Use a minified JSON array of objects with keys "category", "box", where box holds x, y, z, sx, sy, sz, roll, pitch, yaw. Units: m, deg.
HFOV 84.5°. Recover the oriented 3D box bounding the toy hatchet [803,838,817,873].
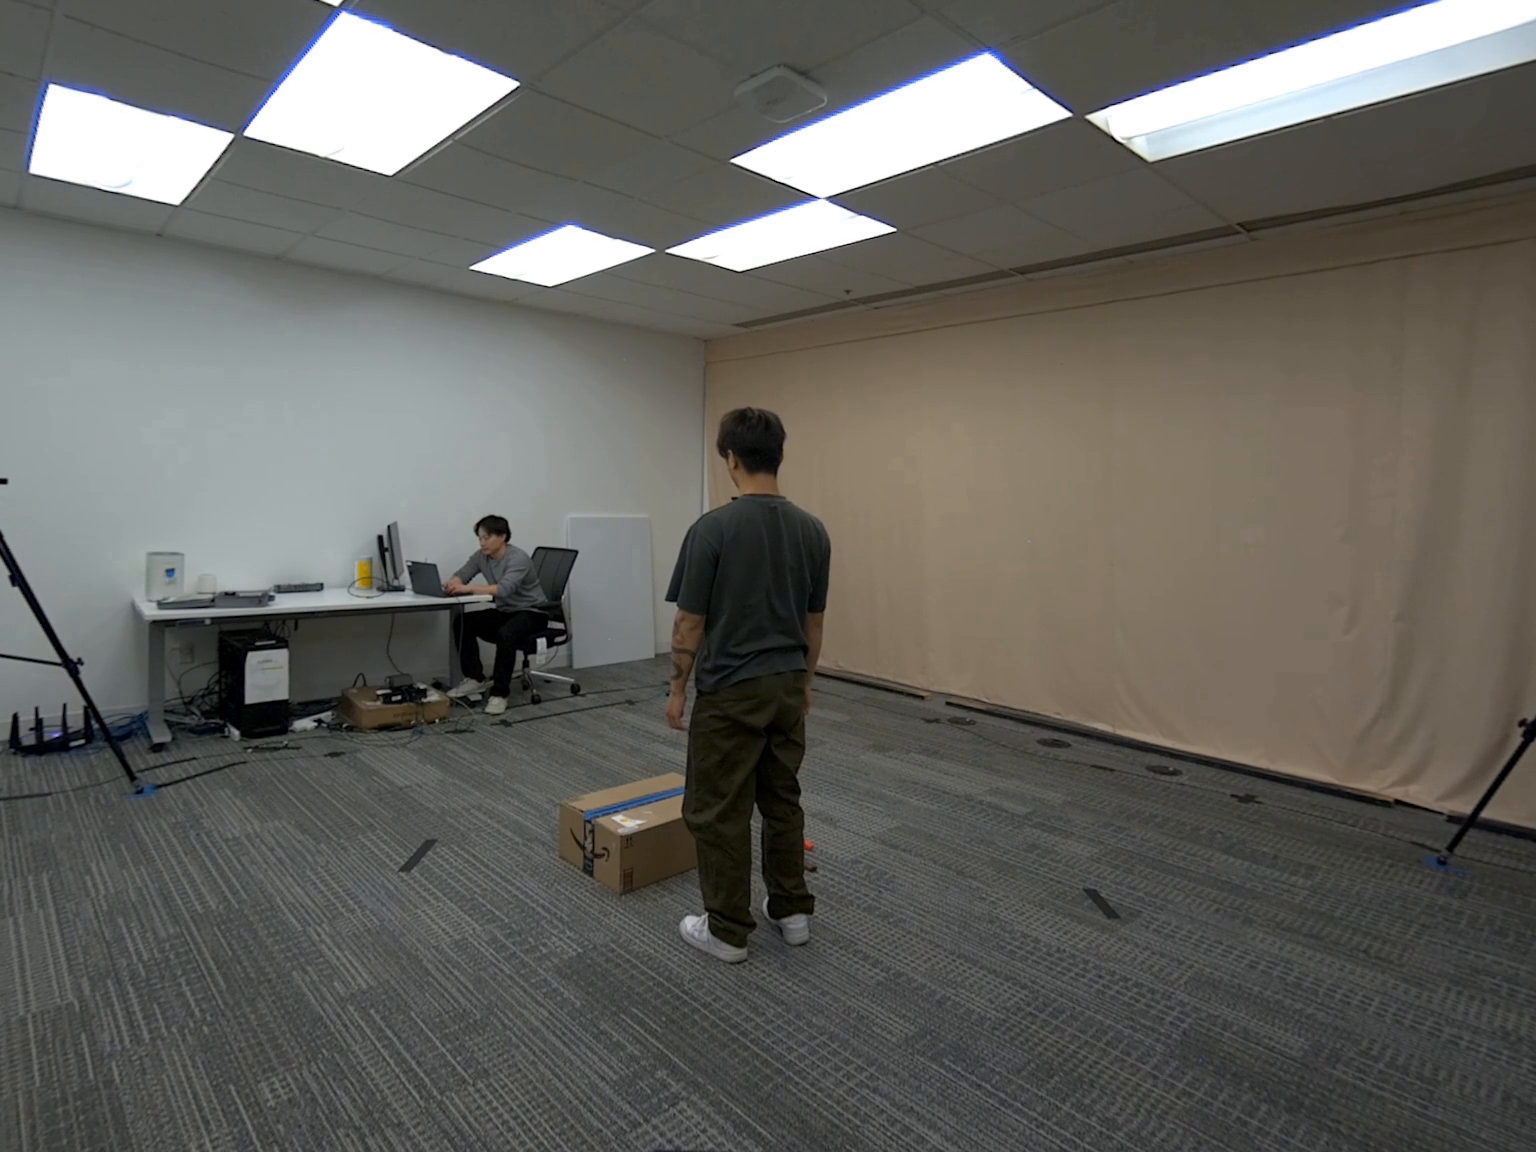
[{"category":"toy hatchet","box":[0.153,1.092,3.291,0.129,0.029,0.276,0,7,-23]}]
